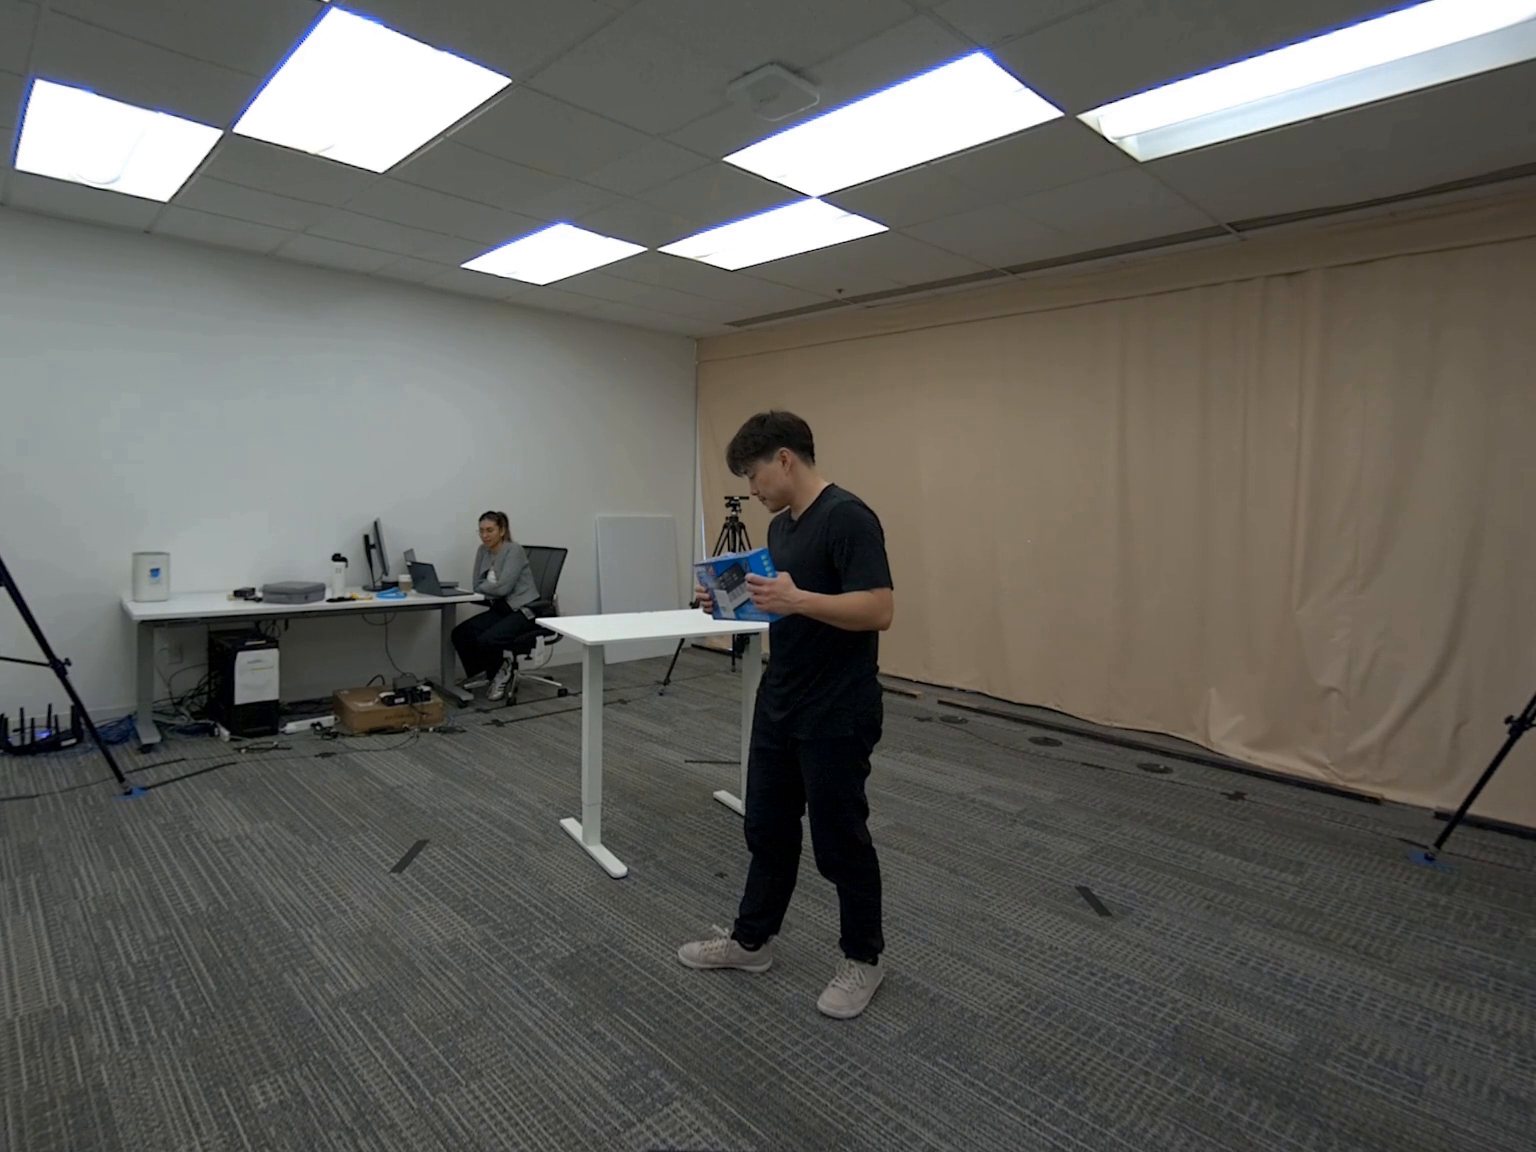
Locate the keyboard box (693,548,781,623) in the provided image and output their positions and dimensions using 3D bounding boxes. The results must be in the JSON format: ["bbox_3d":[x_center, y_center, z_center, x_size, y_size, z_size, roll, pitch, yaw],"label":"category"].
[{"bbox_3d":[-0.081,0.032,2.221,0.058,0.175,0.442,-21,5,-21],"label":"keyboard box"}]
